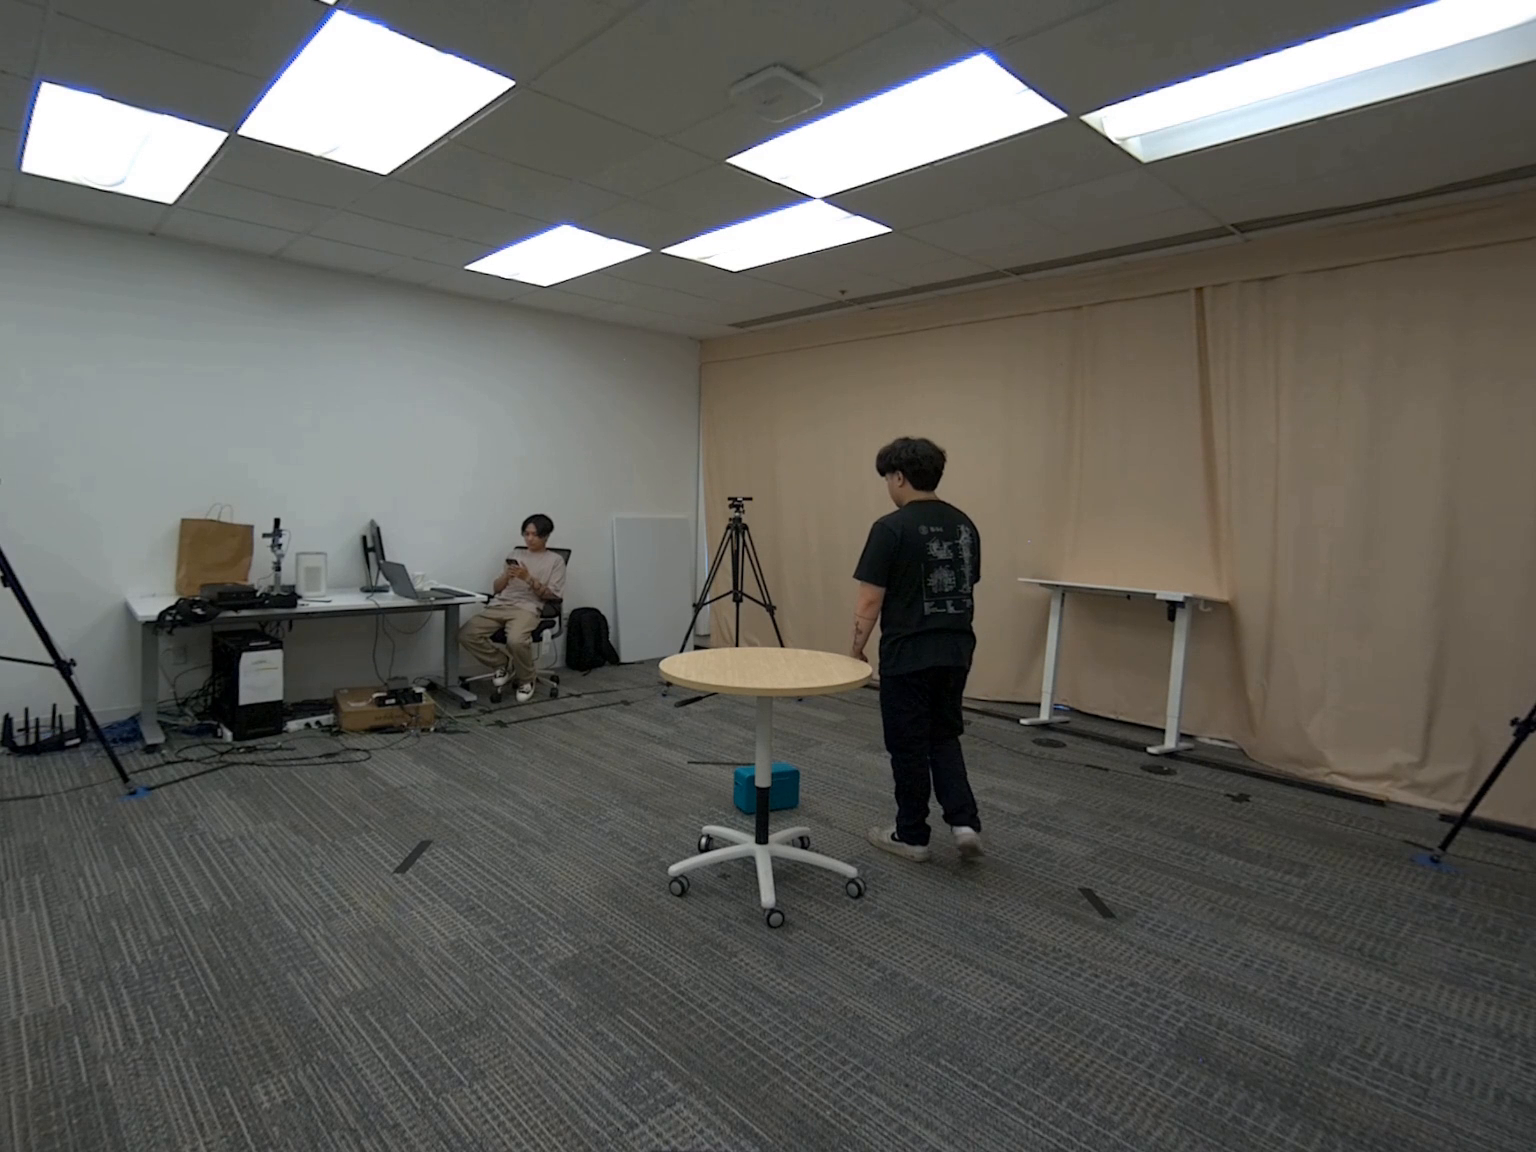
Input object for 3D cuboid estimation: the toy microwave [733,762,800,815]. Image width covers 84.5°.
[{"bbox_3d":[-0.016,0.956,3.825,0.281,0.184,0.155,0,4,-27],"label":"toy microwave"}]
